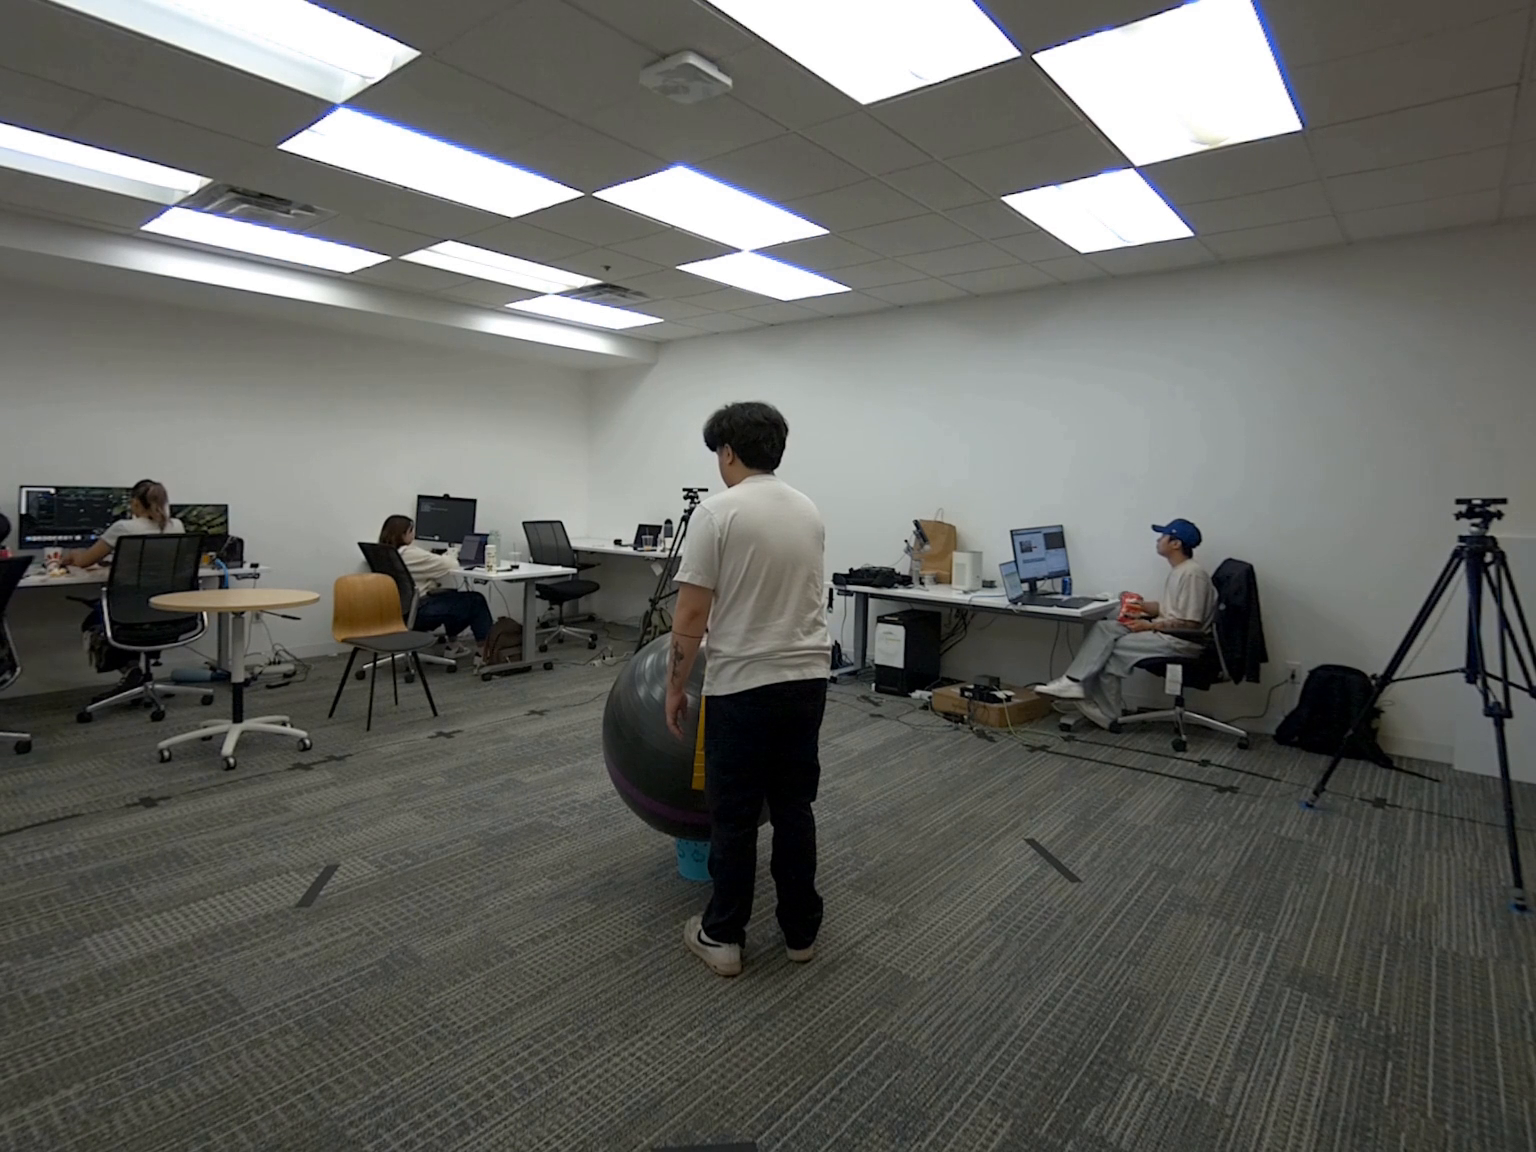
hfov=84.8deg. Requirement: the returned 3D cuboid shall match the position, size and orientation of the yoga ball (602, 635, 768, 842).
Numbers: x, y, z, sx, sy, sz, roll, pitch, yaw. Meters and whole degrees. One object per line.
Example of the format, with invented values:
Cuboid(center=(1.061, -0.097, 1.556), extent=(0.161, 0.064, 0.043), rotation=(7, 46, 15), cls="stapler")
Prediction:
Cuboid(center=(-0.227, 0.564, 3.089), extent=(0.757, 0.756, 0.761), rotation=(1, 4, -2), cls="yoga ball")
